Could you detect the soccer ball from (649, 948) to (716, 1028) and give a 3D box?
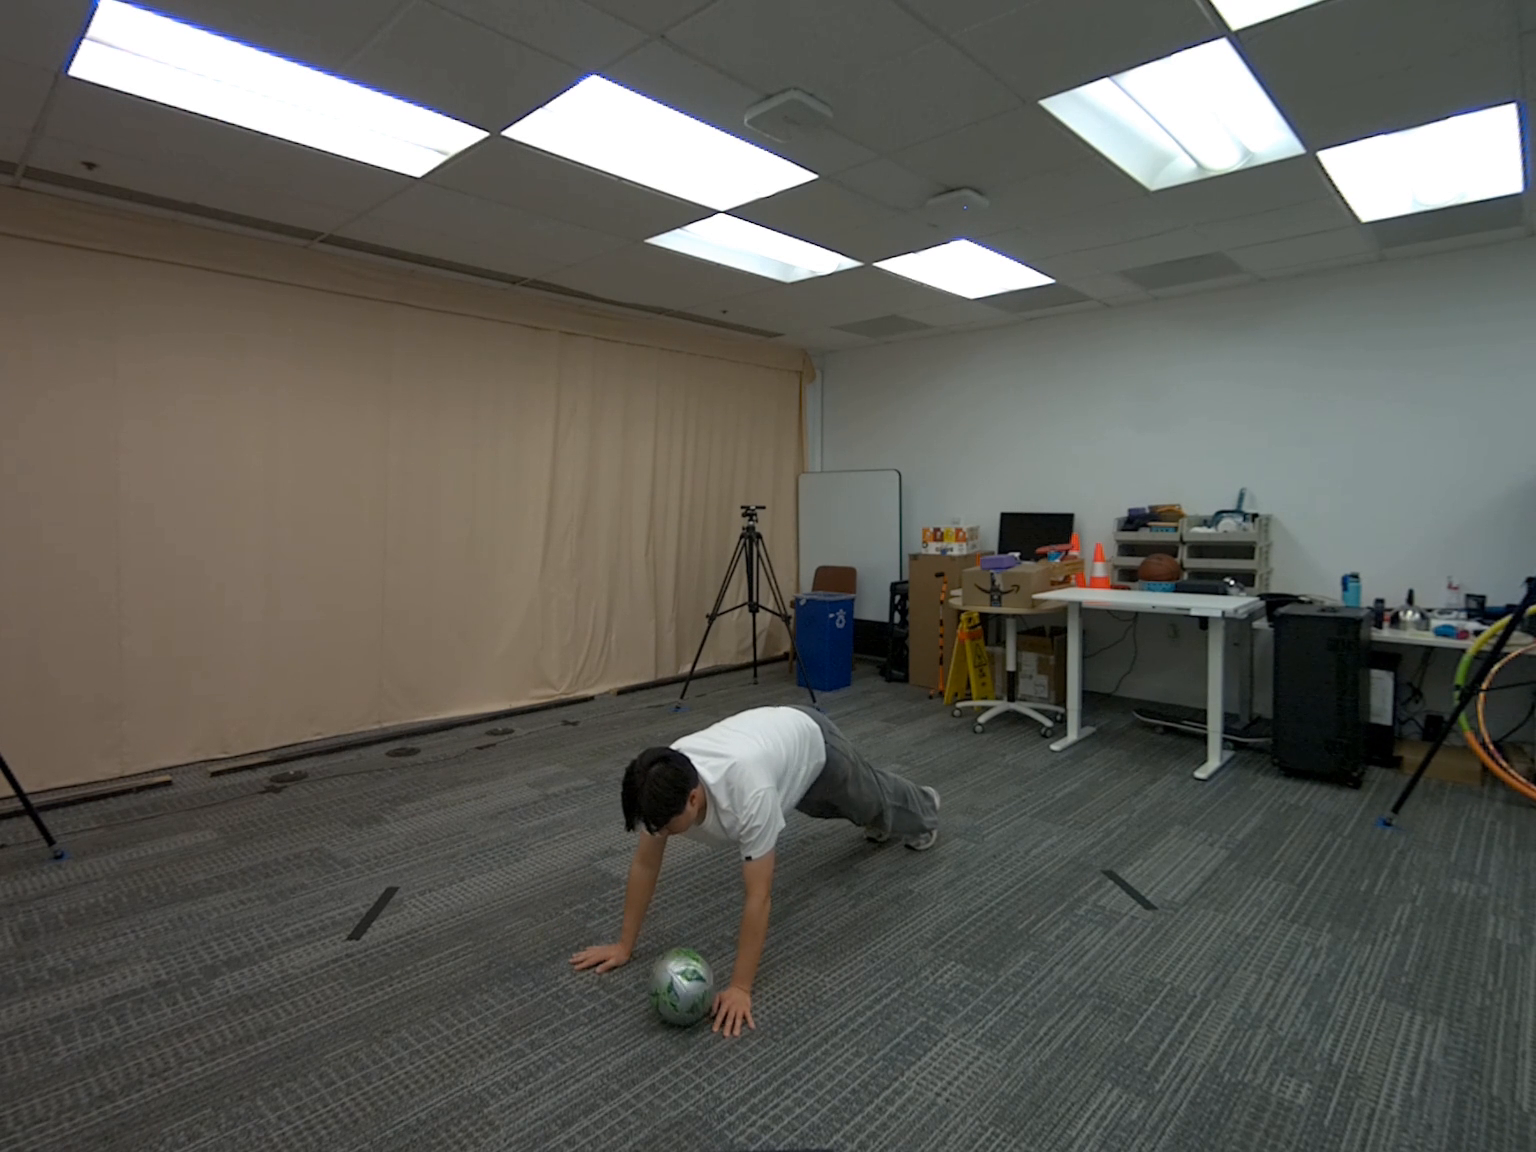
[{"bbox_3d":[-0.226,1.114,2.278,0.187,0.187,0.188,0,4,-2],"label":"soccer ball"}]
